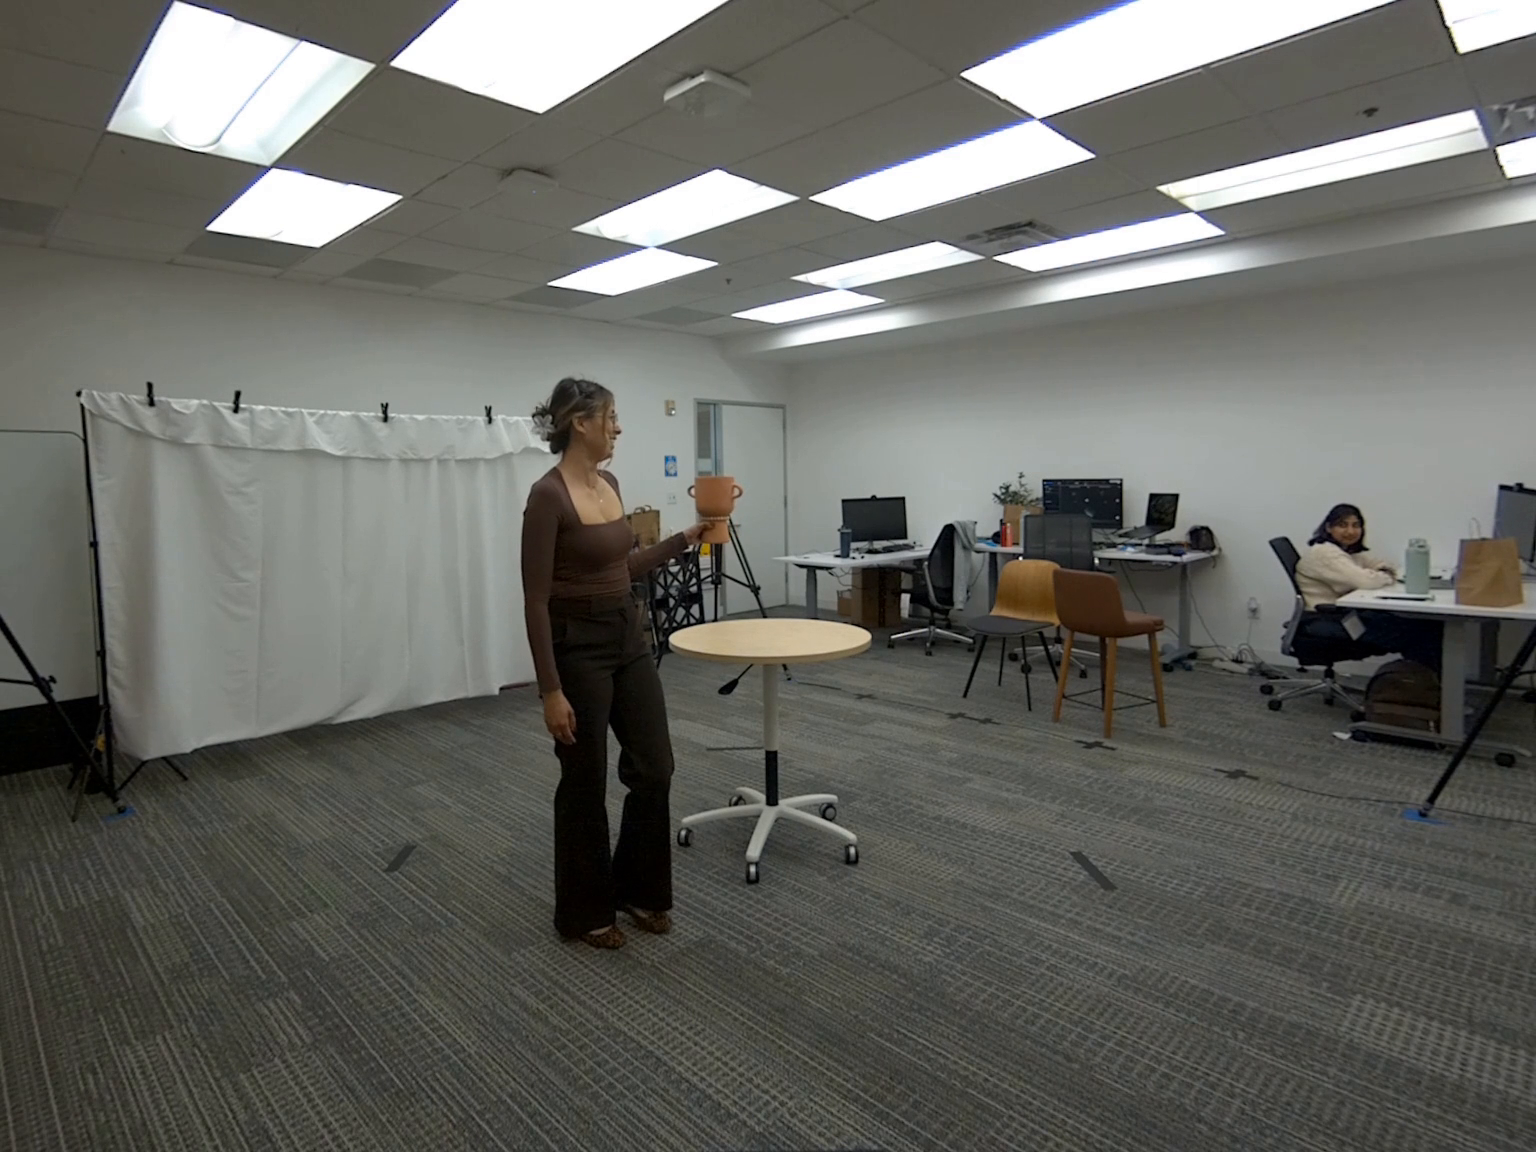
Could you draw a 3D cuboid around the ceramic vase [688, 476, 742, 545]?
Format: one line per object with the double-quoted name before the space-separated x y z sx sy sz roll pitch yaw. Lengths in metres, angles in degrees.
"ceramic vase" -0.173 -0.224 2.852 0.131 0.219 0.163 -3 7 -32
